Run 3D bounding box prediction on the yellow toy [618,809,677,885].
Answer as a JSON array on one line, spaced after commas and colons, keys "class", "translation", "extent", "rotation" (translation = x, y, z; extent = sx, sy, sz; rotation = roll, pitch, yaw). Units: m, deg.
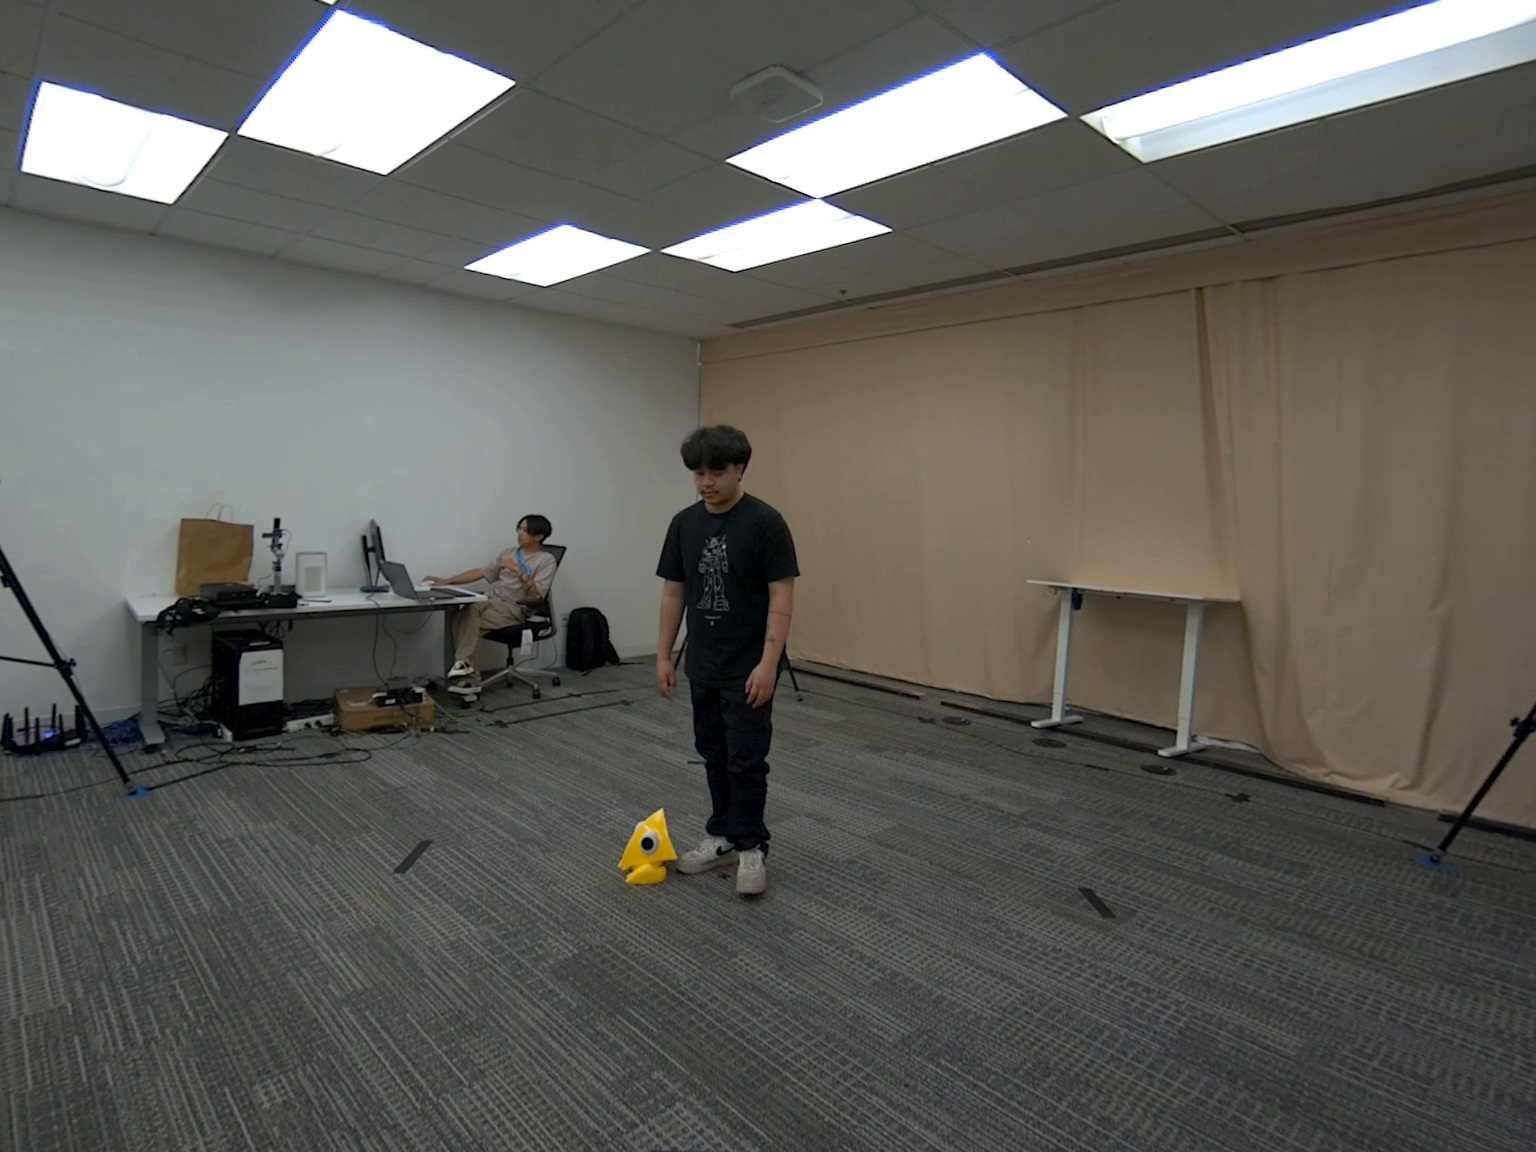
[{"class": "yellow toy", "translation": [-0.453, 0.981, 3.124], "extent": [0.190, 0.230, 0.209], "rotation": [0, 5, -22]}]
